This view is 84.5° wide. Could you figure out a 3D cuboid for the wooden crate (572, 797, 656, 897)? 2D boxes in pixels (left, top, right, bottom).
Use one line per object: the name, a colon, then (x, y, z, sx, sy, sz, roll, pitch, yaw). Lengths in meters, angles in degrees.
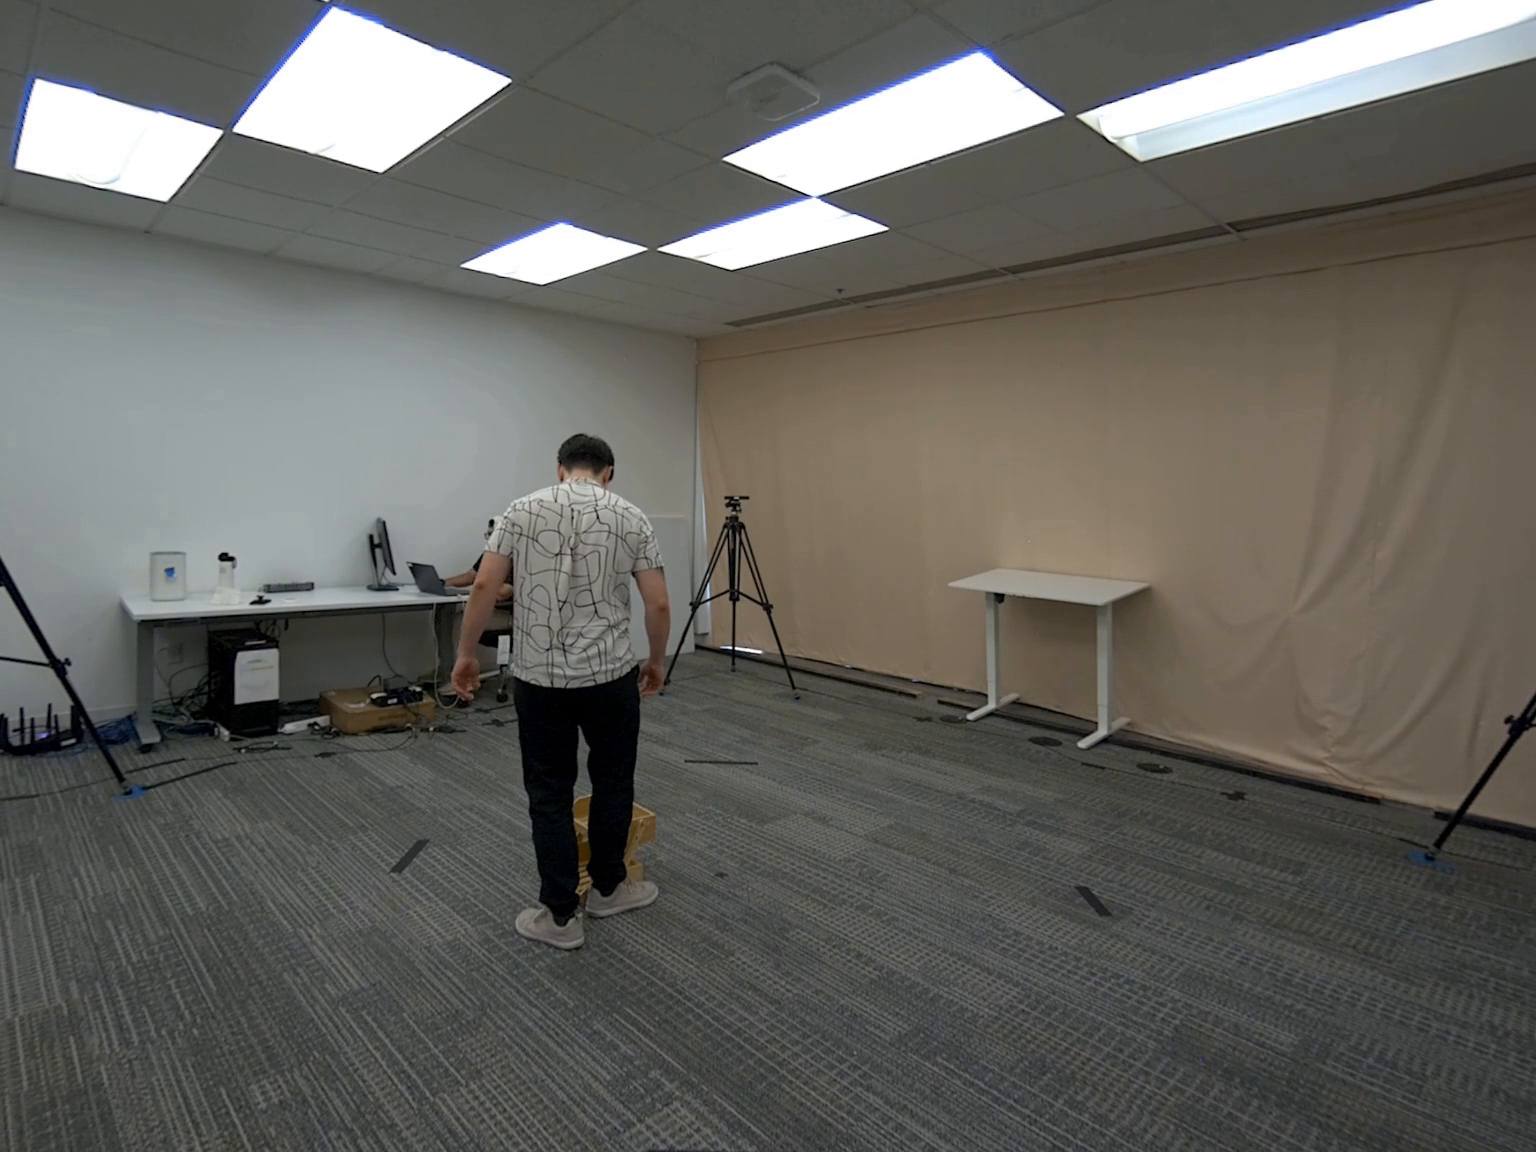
wooden crate: (-0.620, 0.969, 3.016, 0.295, 0.272, 0.333, -1, 5, -41)
